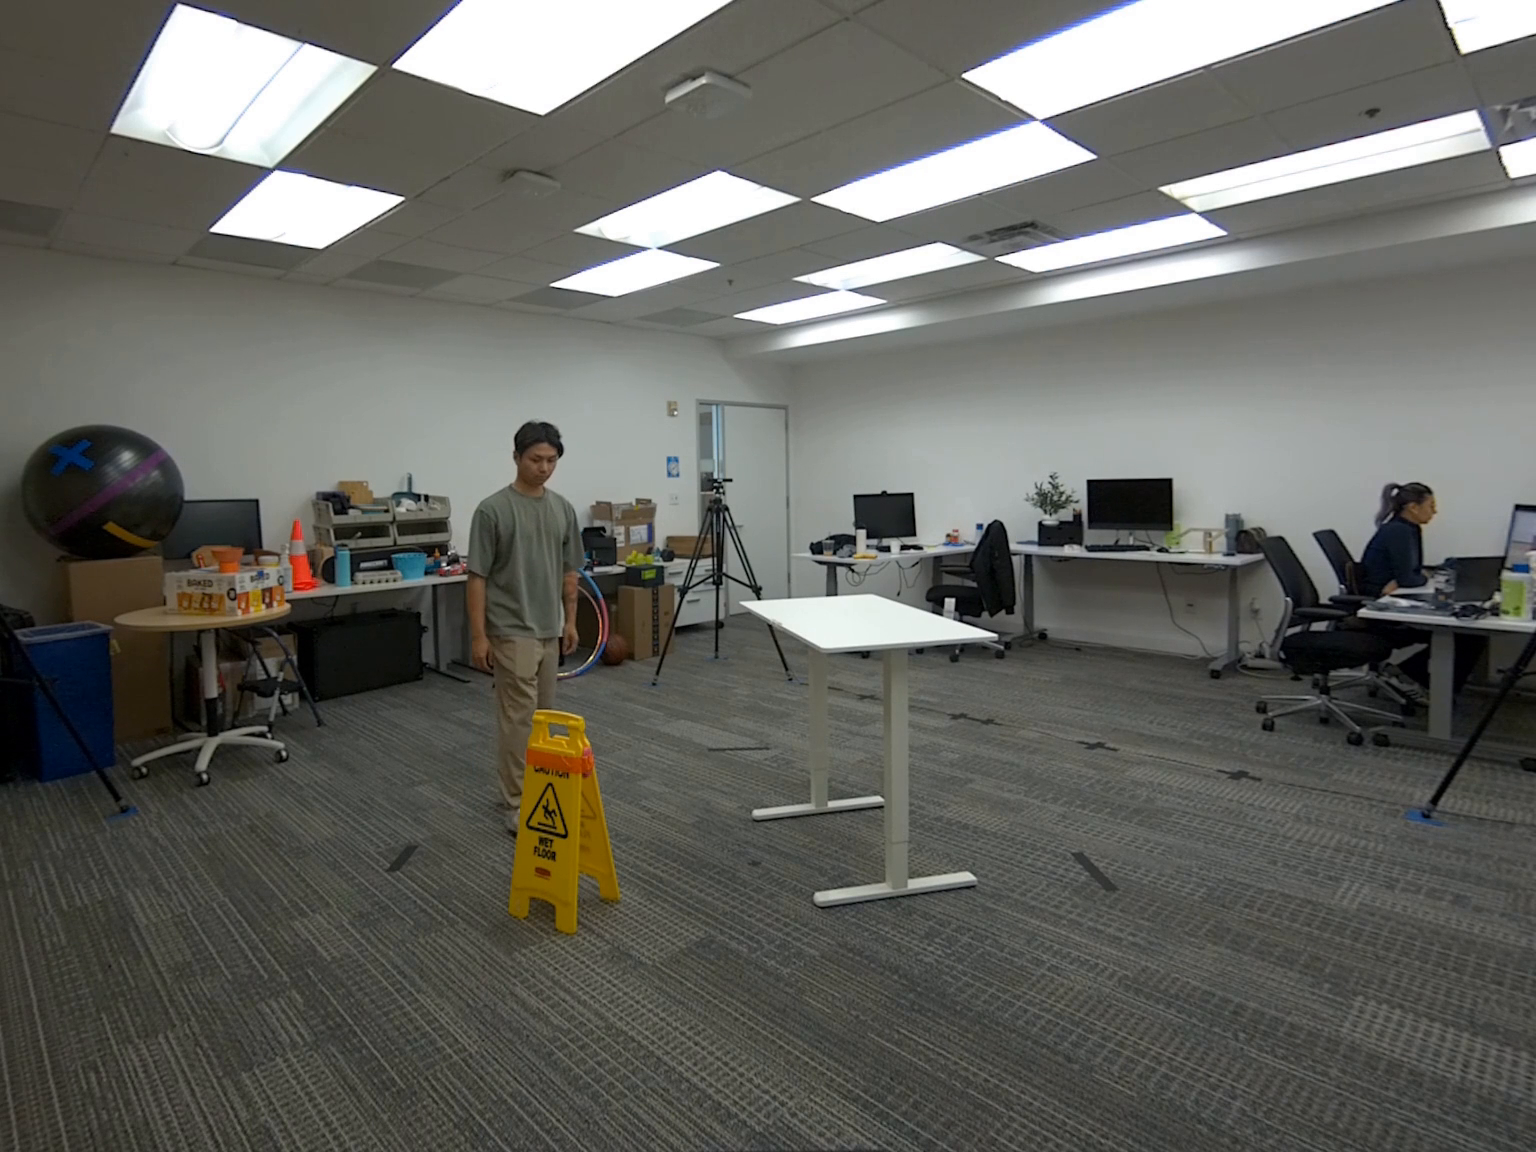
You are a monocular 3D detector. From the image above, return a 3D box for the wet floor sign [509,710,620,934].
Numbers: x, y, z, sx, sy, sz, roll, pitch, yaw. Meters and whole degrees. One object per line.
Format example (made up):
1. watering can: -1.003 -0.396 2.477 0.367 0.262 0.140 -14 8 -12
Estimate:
1. wet floor sign: -0.672 0.771 2.786 0.289 0.643 0.284 1 5 27
